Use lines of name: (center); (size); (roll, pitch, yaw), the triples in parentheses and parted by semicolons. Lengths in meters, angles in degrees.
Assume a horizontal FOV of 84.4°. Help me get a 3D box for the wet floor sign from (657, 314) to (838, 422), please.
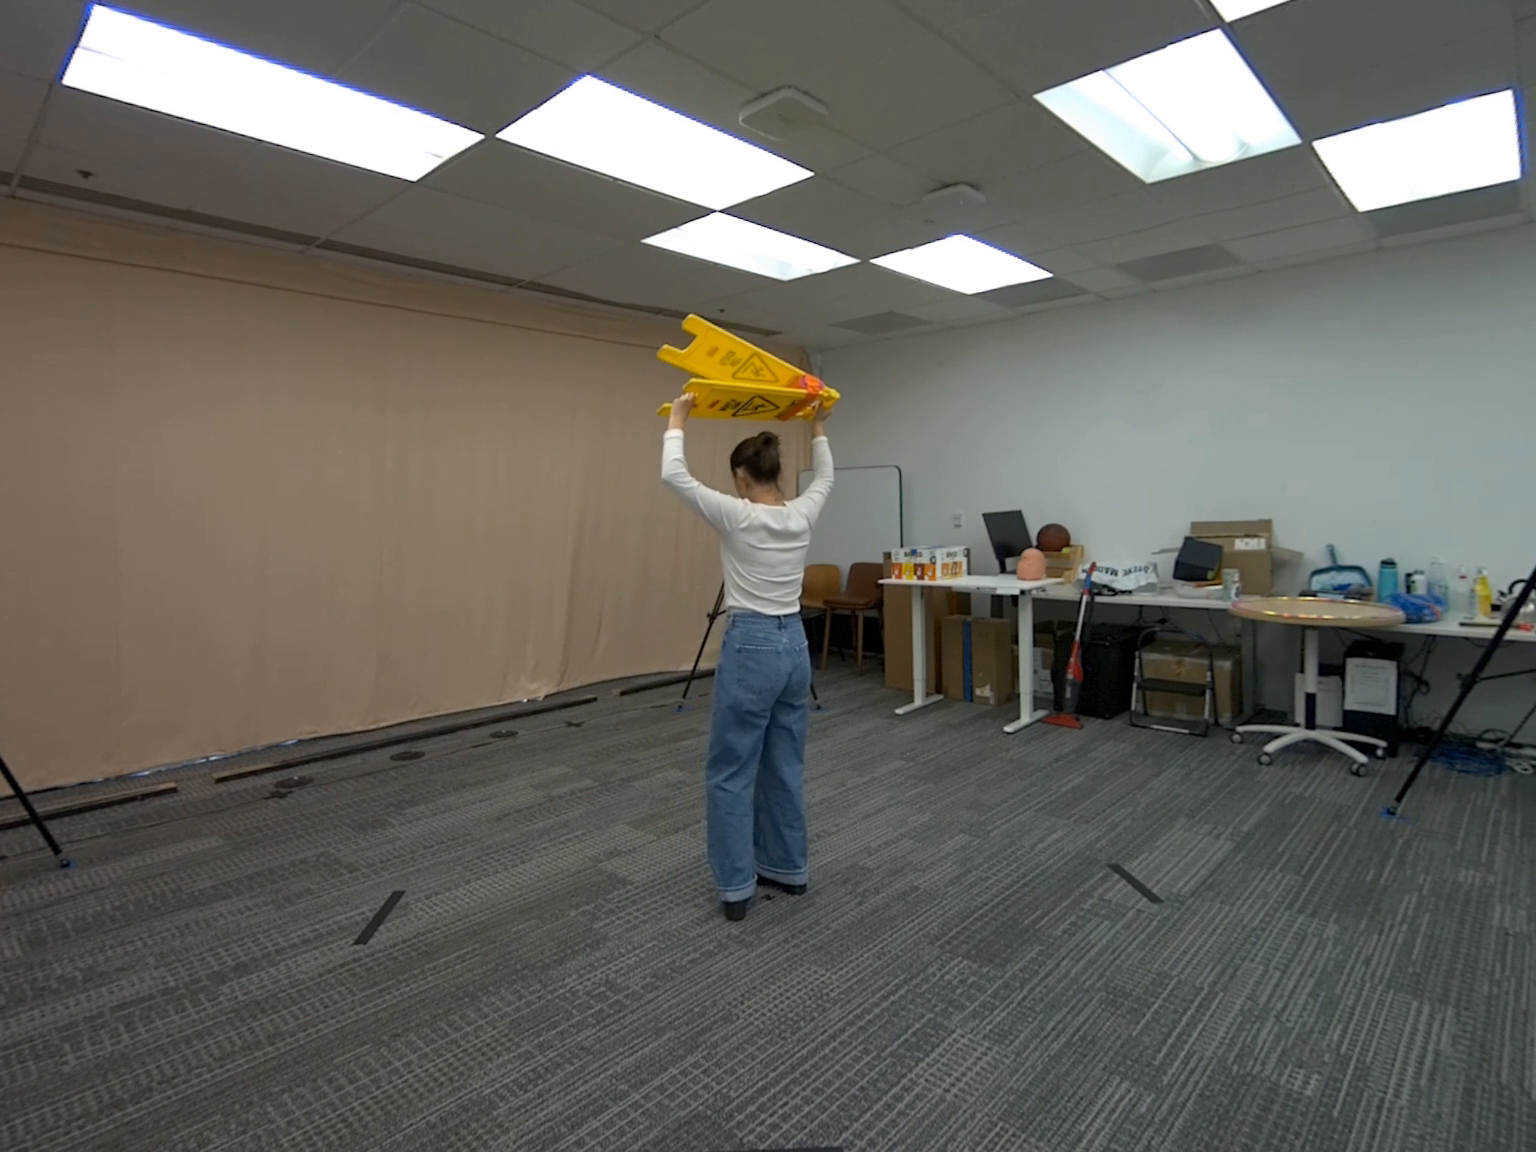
wet floor sign: (-0.049, -0.684, 3.057); (0.627, 0.293, 0.287); (8, -21, -29)
